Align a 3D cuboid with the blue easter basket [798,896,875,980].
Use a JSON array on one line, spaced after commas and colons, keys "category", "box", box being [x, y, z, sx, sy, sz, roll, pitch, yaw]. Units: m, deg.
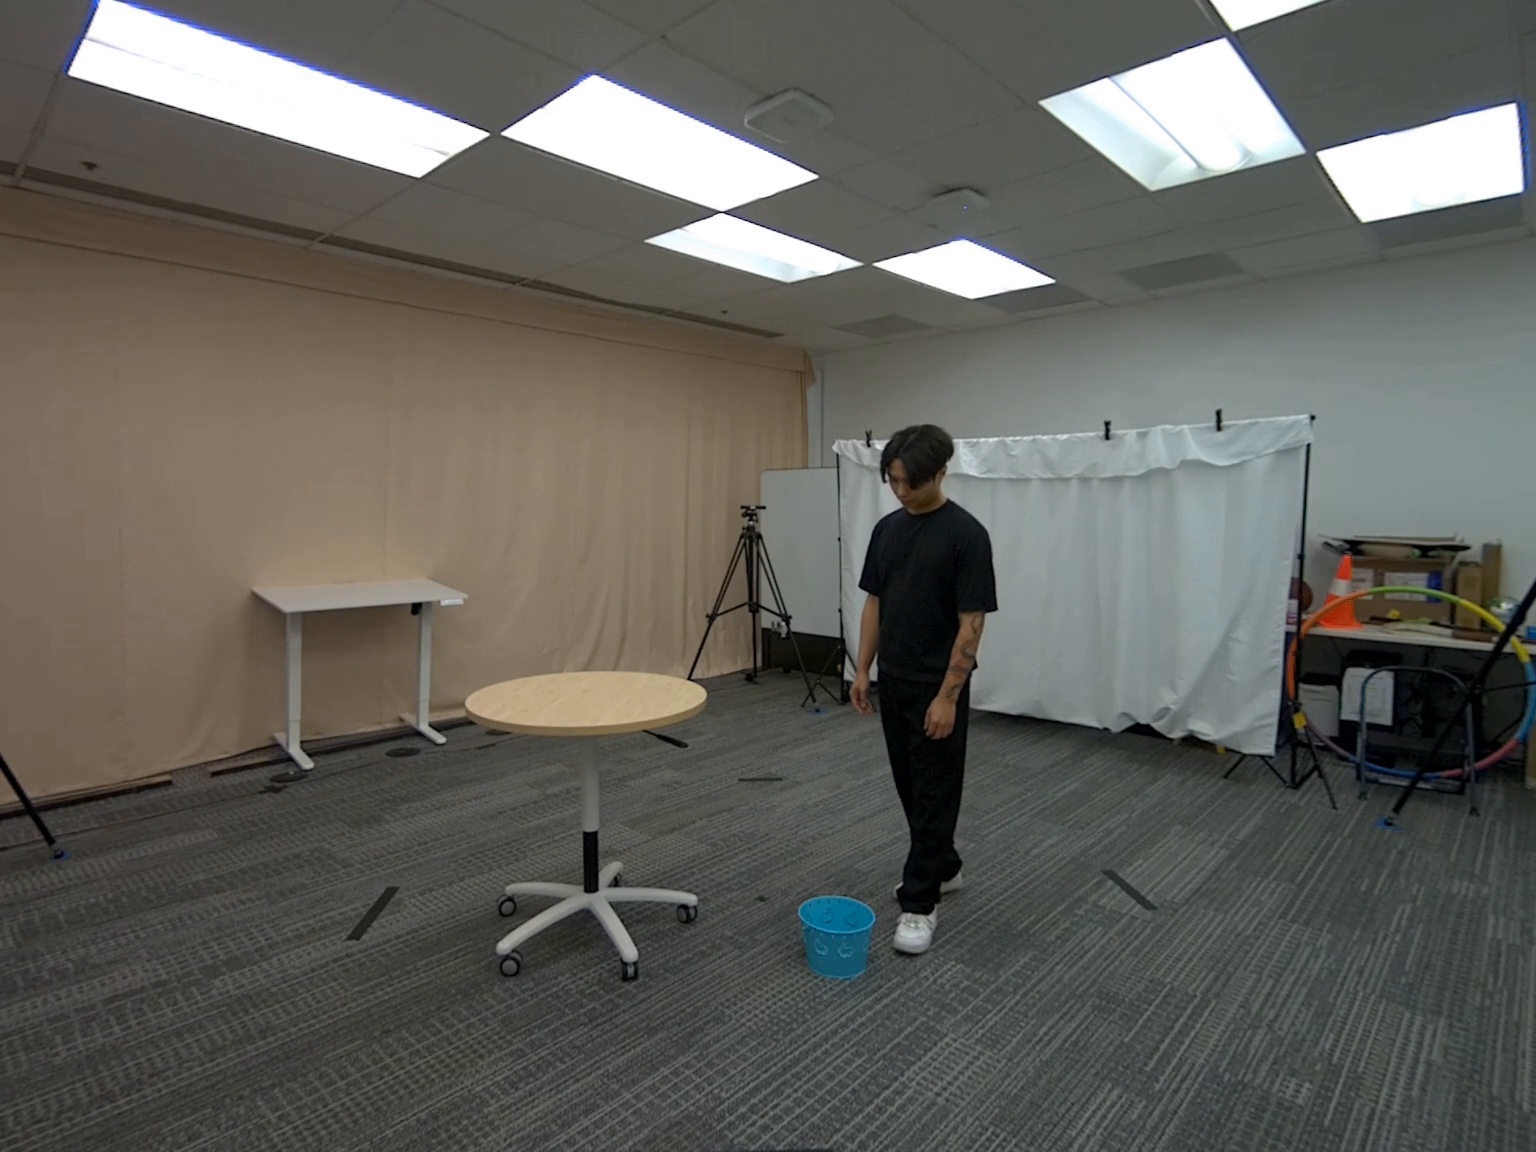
[{"category": "blue easter basket", "box": [0.214, 1.100, 2.567, 0.243, 0.155, 0.244, 0, 4, -2]}]
